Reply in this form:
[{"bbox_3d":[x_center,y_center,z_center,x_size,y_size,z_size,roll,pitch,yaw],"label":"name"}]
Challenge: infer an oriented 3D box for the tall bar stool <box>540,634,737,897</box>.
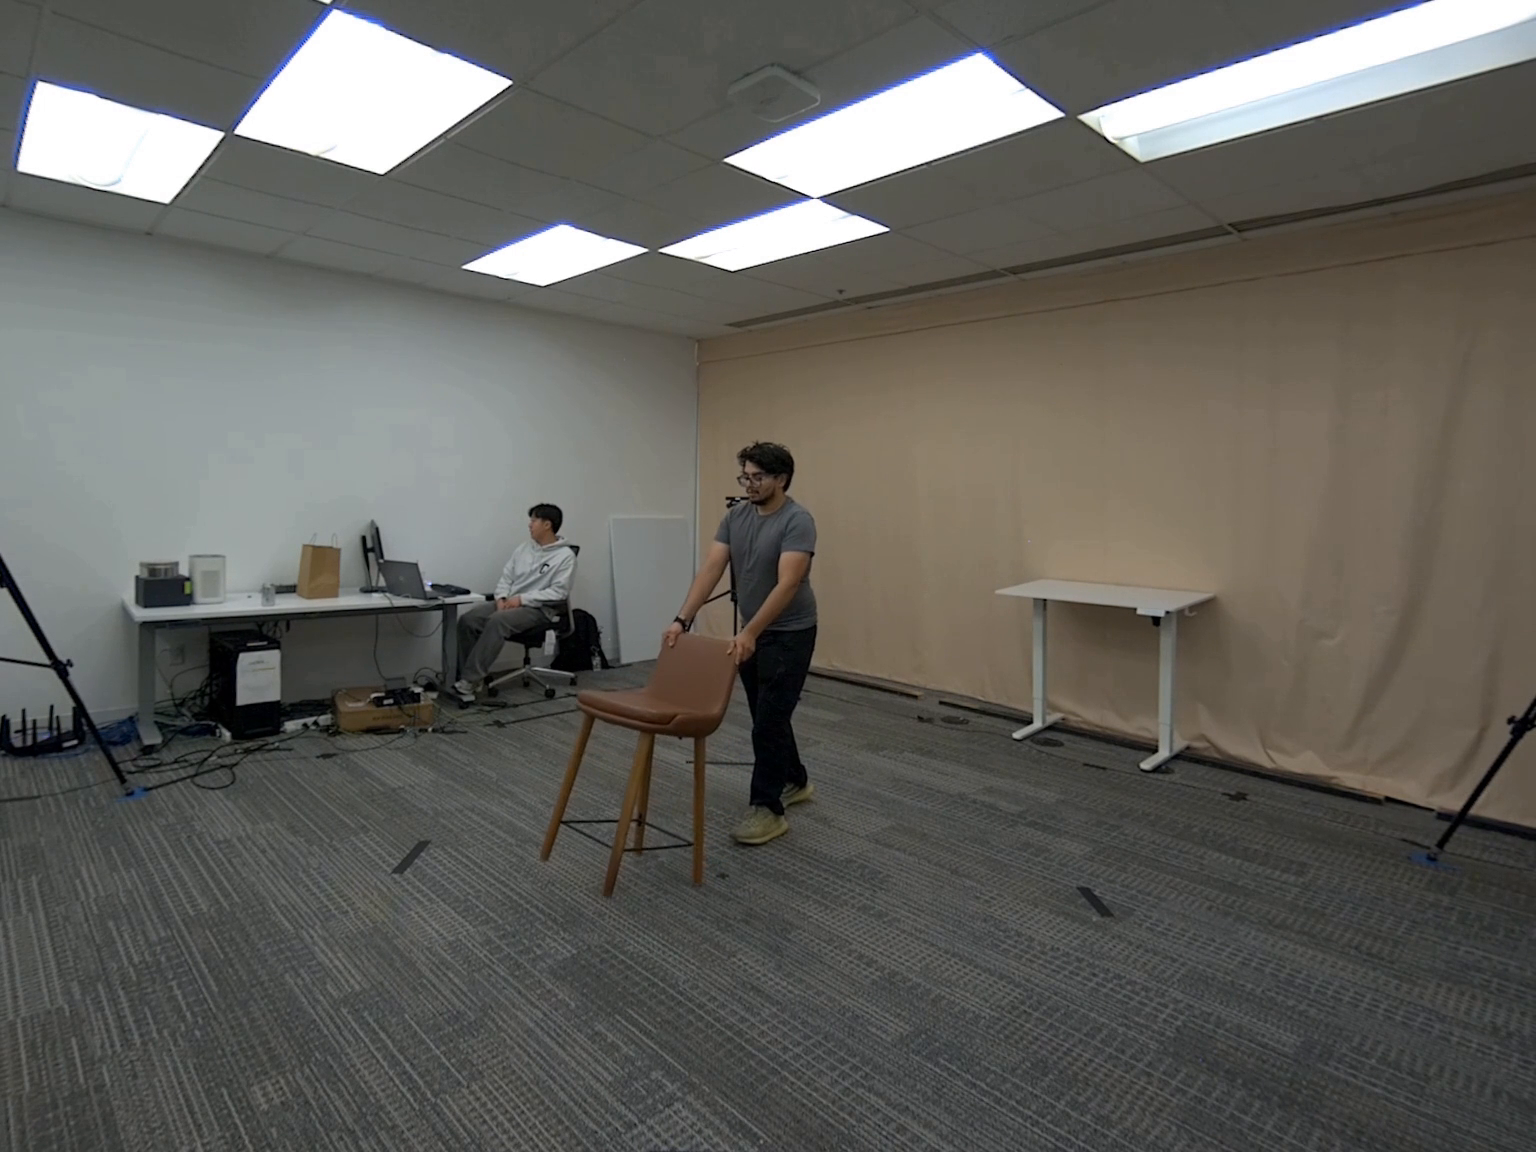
[{"bbox_3d":[-0.448,0.633,3.051,0.468,0.893,0.454,4,-10,45],"label":"tall bar stool"}]
